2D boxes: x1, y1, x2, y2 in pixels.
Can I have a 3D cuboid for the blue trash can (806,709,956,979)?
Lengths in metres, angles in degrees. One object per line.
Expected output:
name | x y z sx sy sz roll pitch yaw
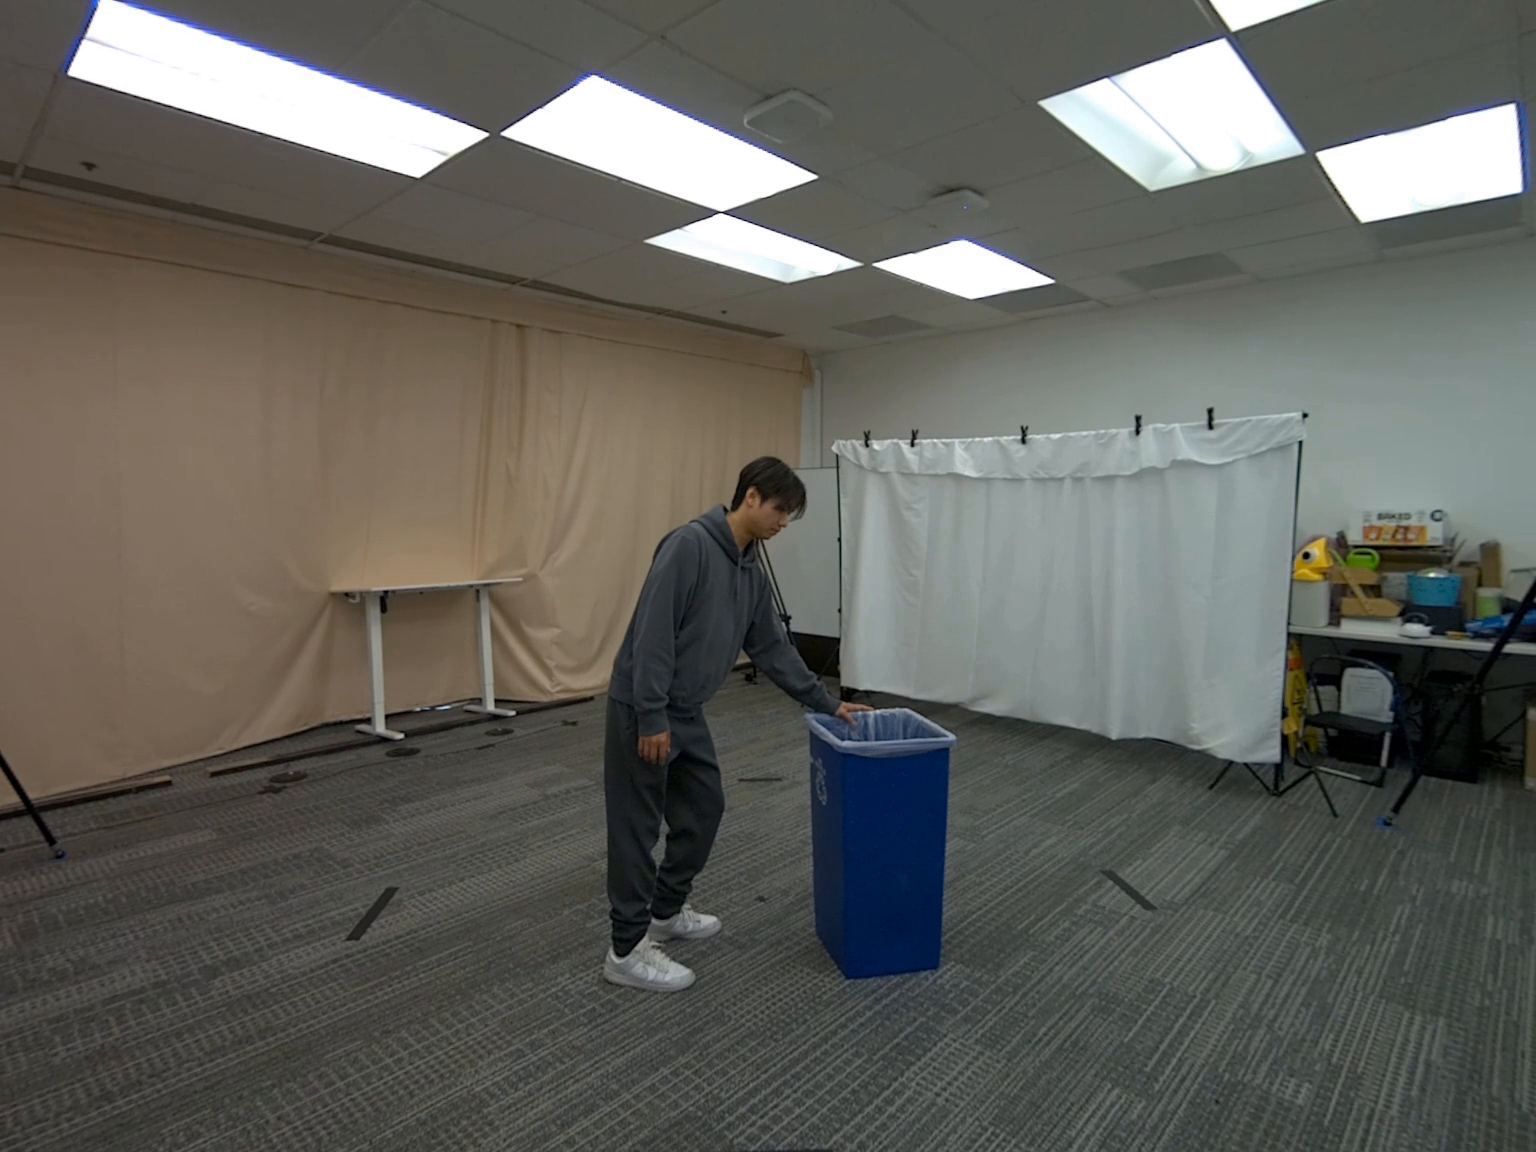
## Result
blue trash can | 0.347 0.822 2.617 0.373 0.712 0.380 -1 3 -13
